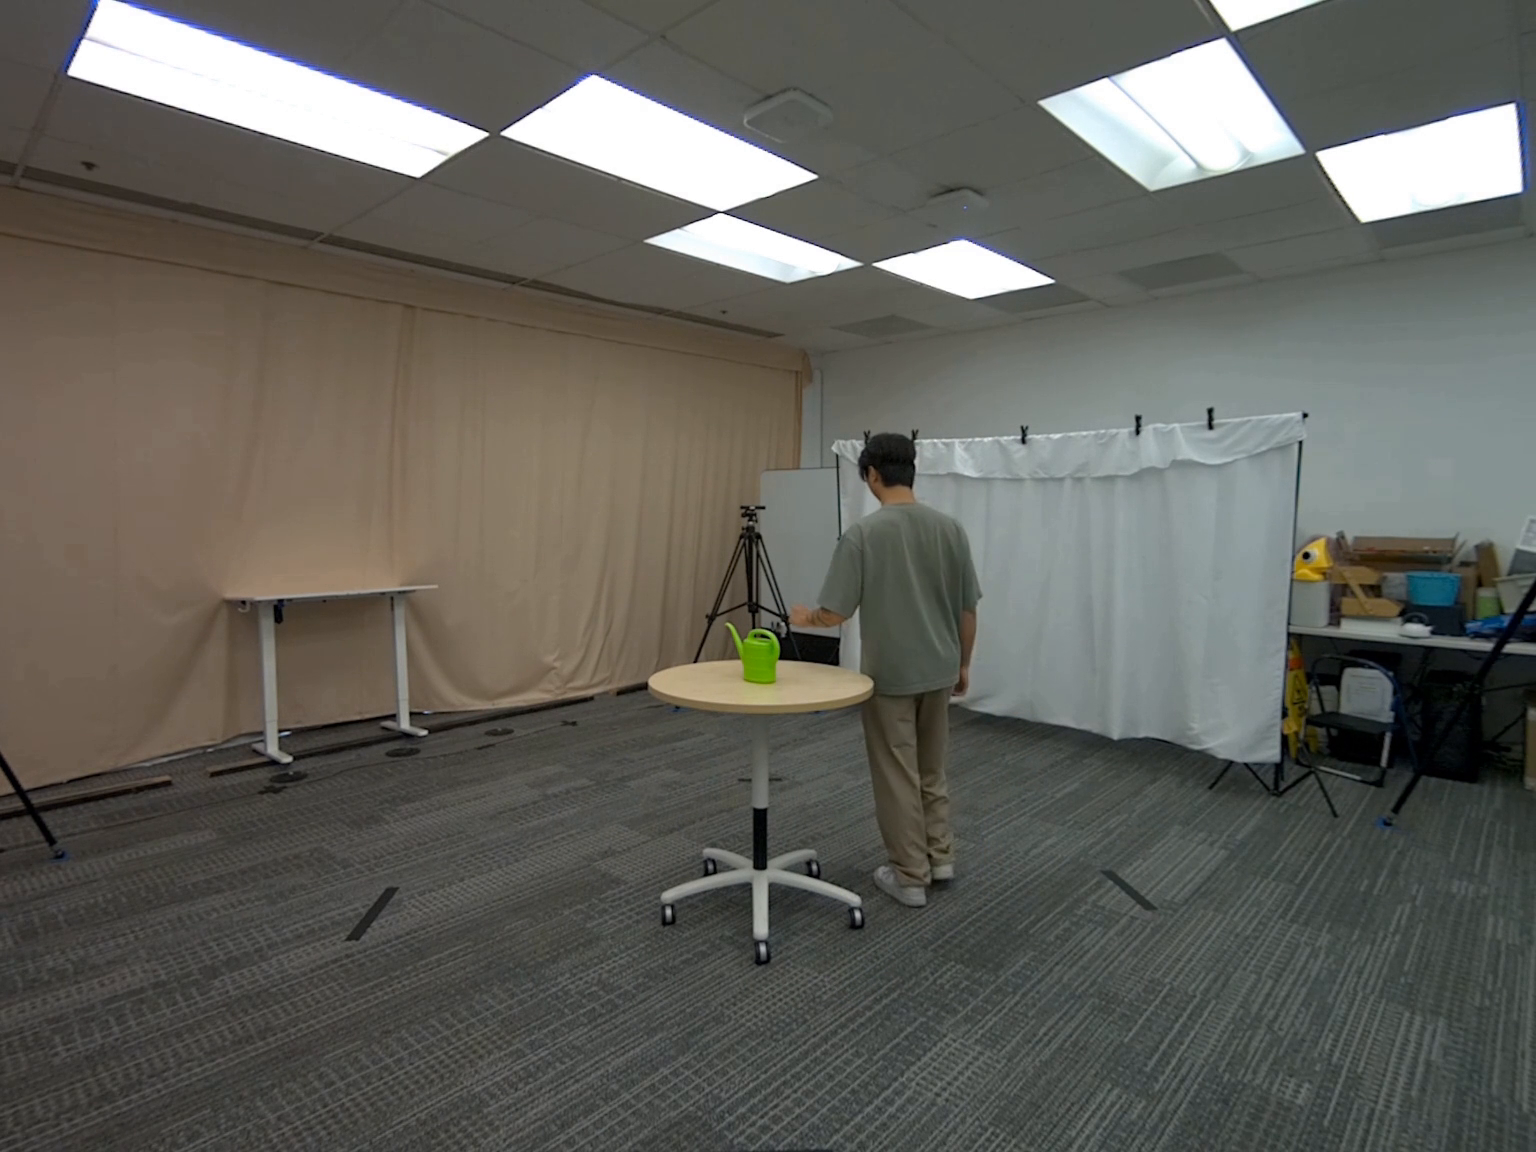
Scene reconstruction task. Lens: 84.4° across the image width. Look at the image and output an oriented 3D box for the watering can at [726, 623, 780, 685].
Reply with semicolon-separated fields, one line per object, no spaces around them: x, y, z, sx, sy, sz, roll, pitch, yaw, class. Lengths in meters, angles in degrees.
-0.043;0.267;2.906;0.095;0.176;0.286;-2;6;-26;watering can
